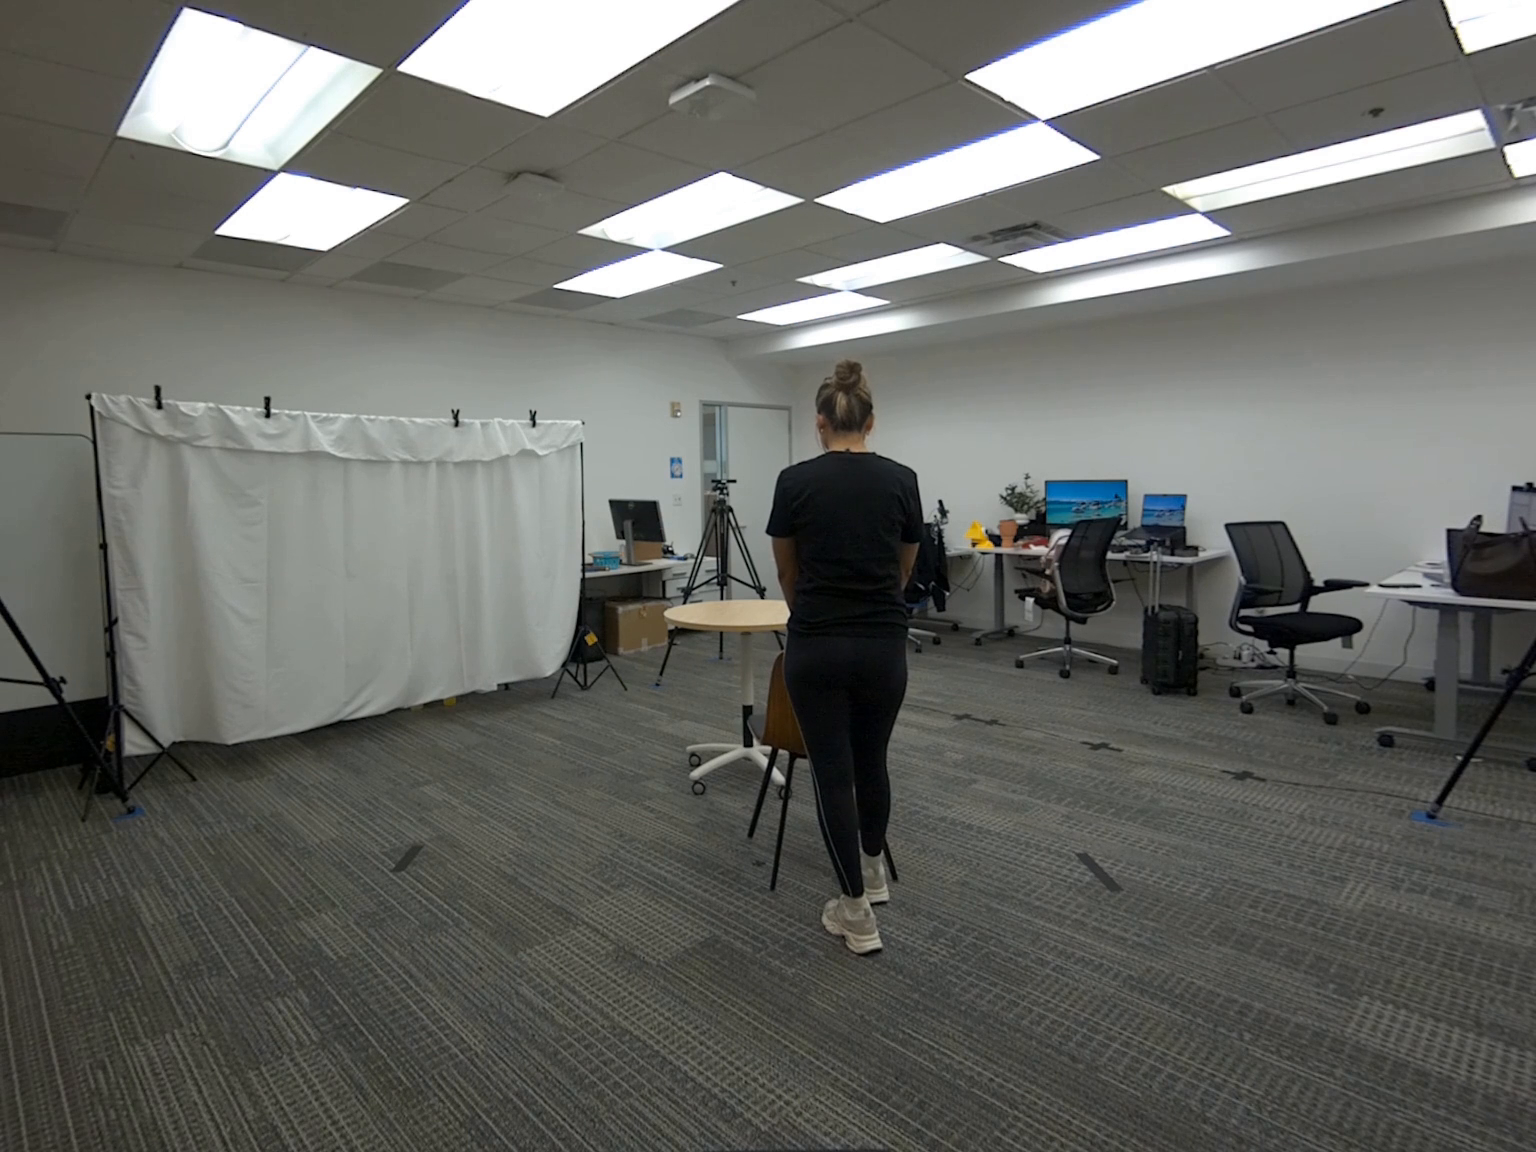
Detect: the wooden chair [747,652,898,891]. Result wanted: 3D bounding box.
[{"bbox_3d":[0.172,0.615,3.128,0.474,0.871,0.532,-2,8,-10],"label":"wooden chair"}]
